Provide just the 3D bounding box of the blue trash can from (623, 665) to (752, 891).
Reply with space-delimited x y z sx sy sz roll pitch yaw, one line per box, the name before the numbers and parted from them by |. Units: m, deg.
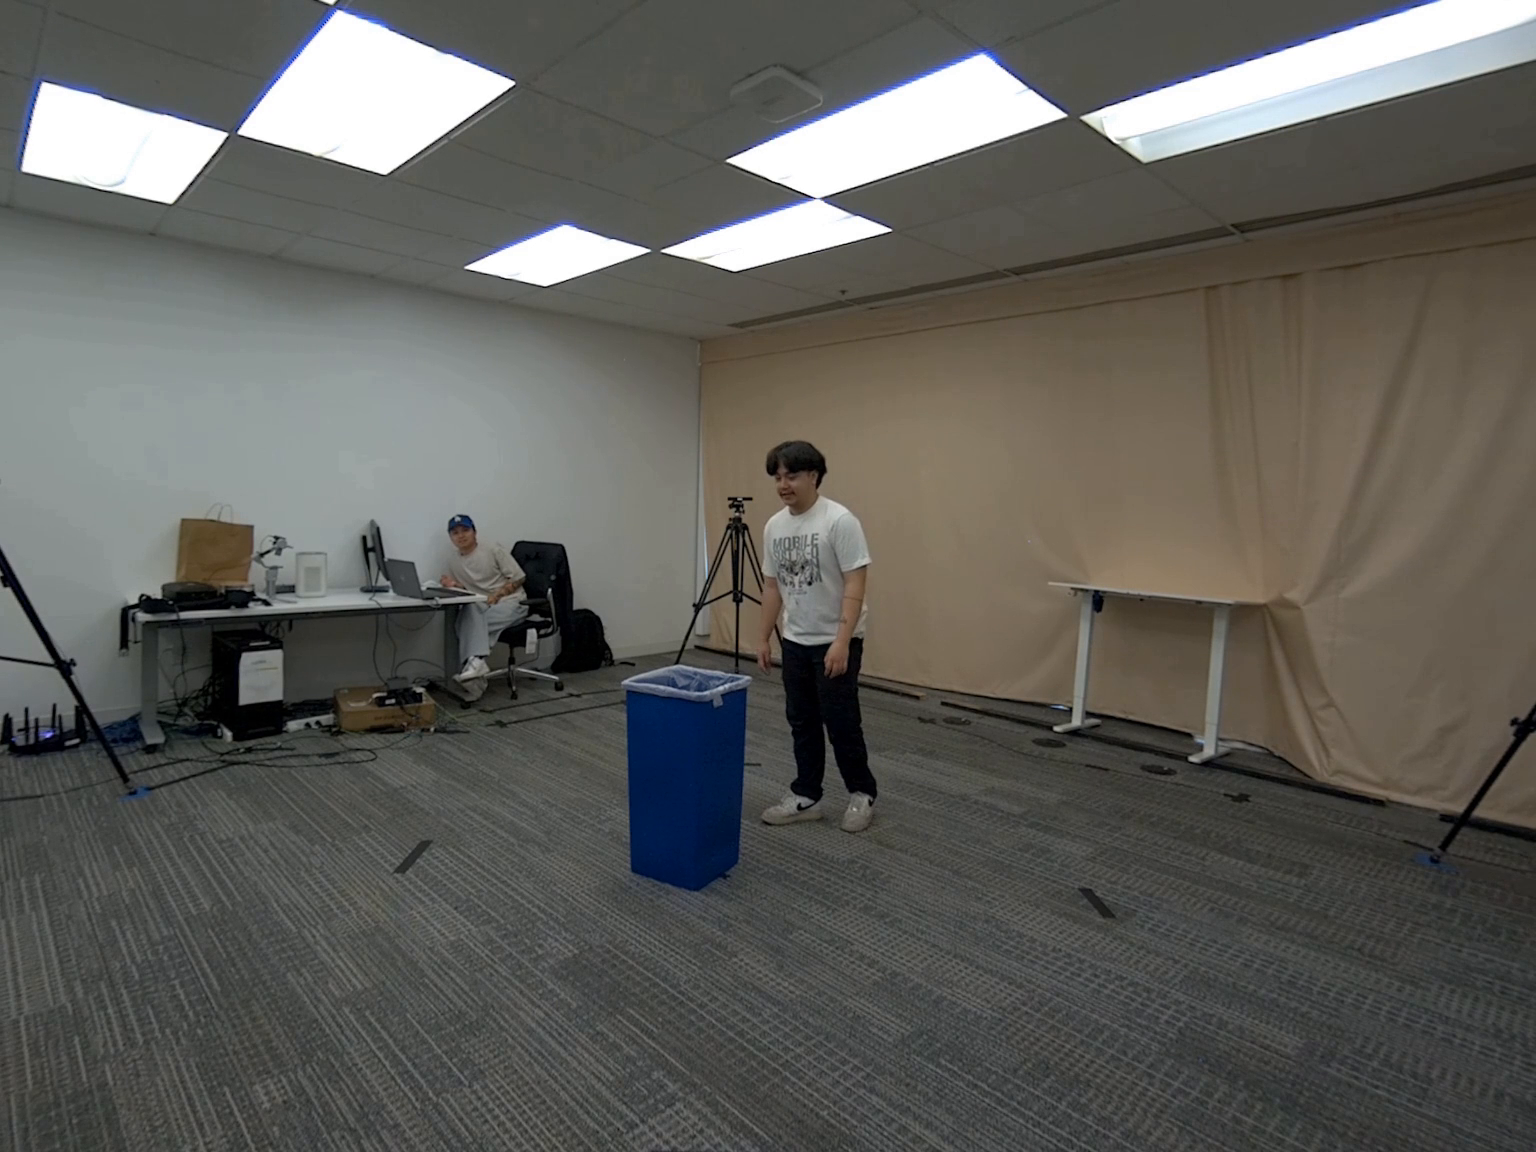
blue trash can | -0.318 0.740 3.156 0.382 0.712 0.371 4 4 30
